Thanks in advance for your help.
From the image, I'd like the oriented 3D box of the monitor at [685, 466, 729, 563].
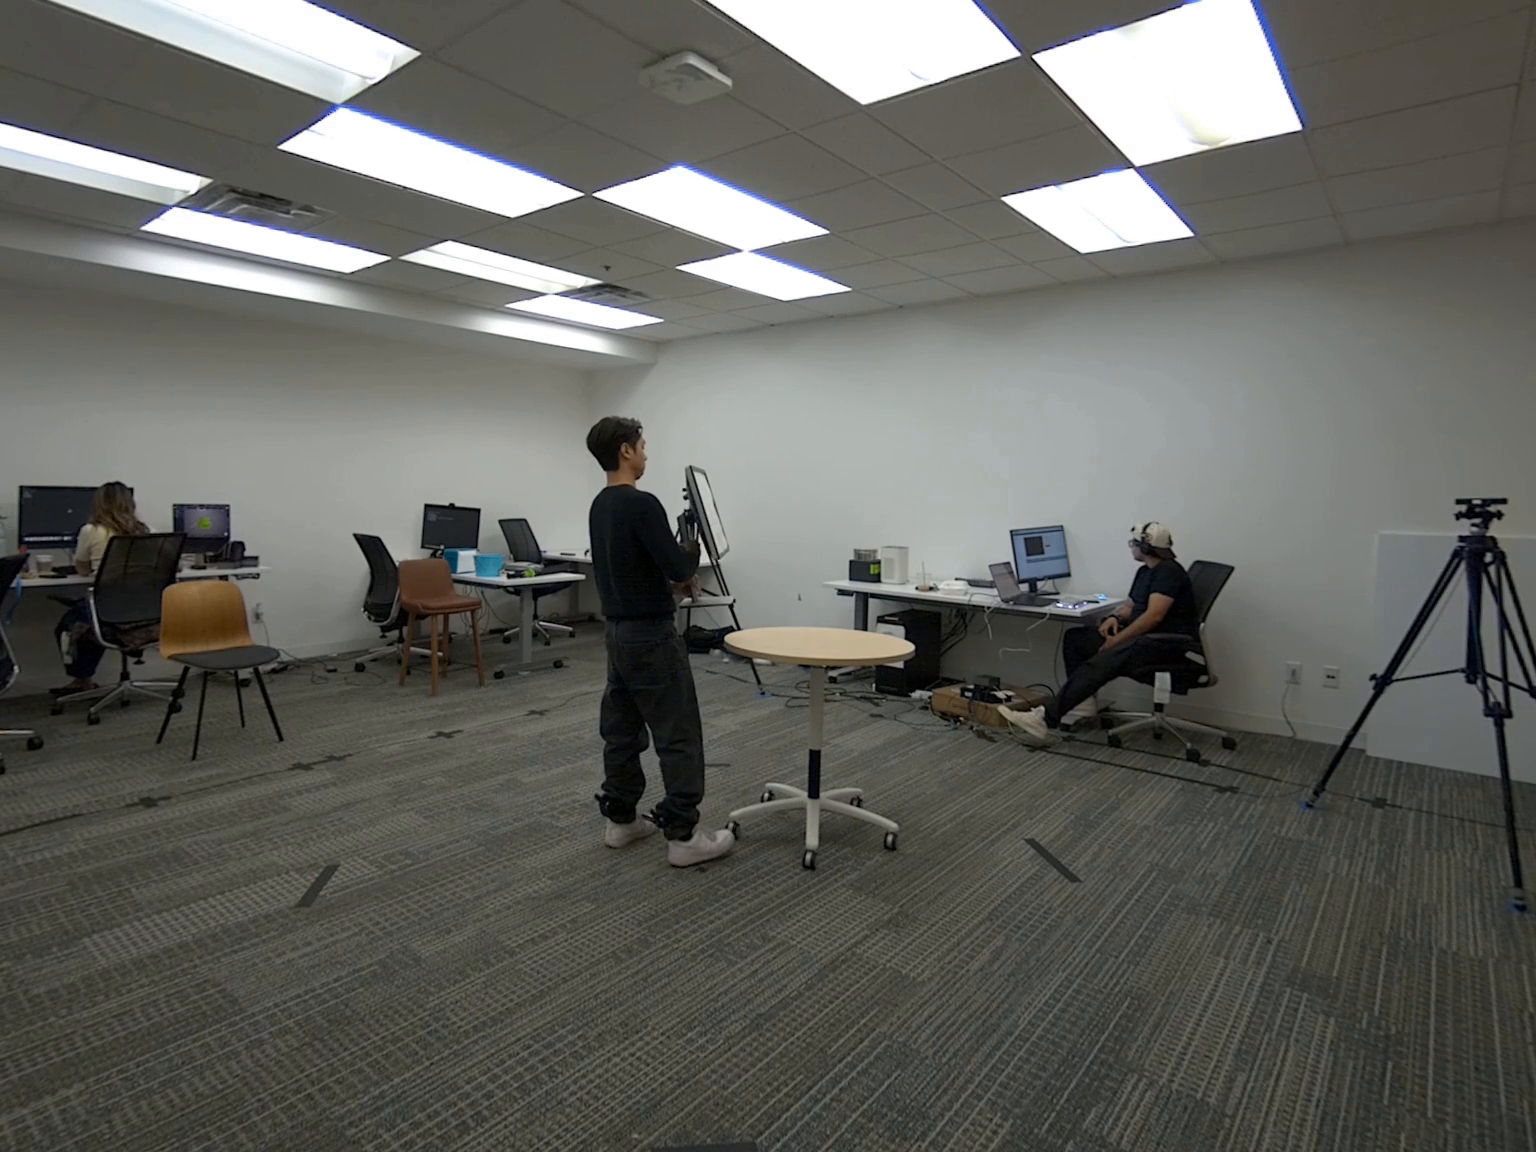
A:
[{"bbox_3d":[-0.266,-0.155,3.382,0.175,0.515,0.530,1,2,0],"label":"monitor"}]
